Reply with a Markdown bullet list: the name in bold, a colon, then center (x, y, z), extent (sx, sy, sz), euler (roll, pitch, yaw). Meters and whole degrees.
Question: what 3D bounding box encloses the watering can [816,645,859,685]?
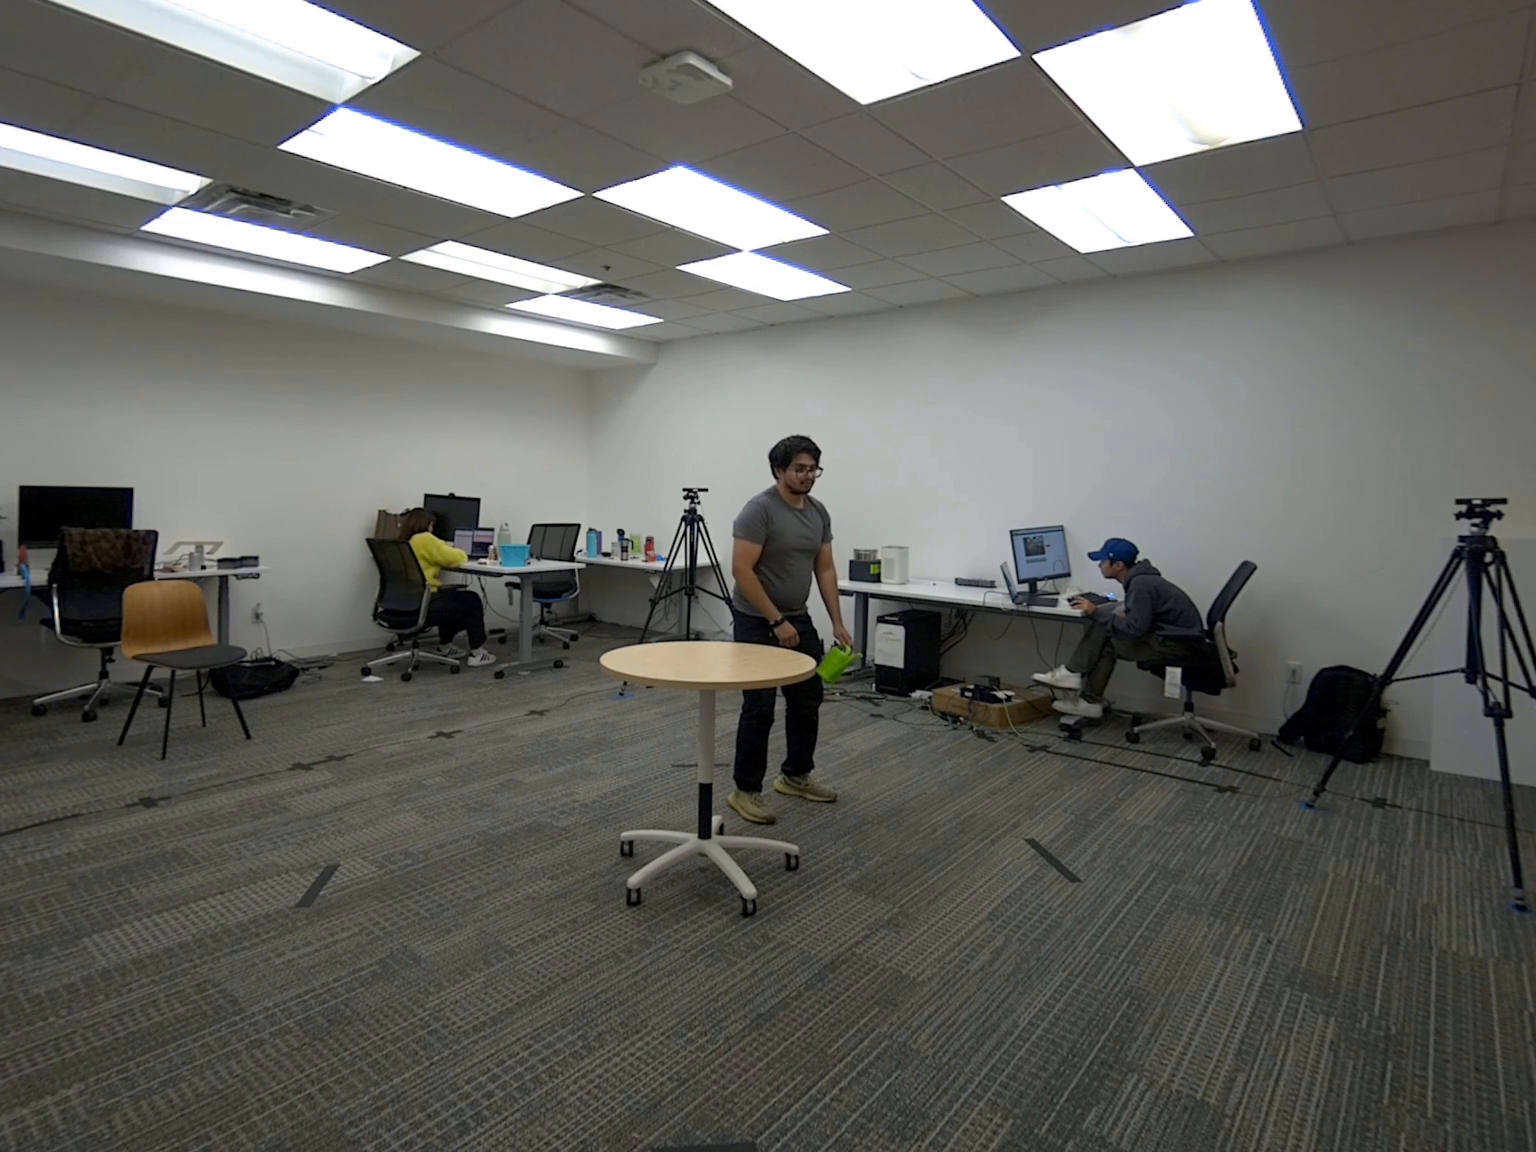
- **watering can**: center (0.278, 0.363, 3.593), extent (0.098, 0.177, 0.277), euler (36, -2, 0)
